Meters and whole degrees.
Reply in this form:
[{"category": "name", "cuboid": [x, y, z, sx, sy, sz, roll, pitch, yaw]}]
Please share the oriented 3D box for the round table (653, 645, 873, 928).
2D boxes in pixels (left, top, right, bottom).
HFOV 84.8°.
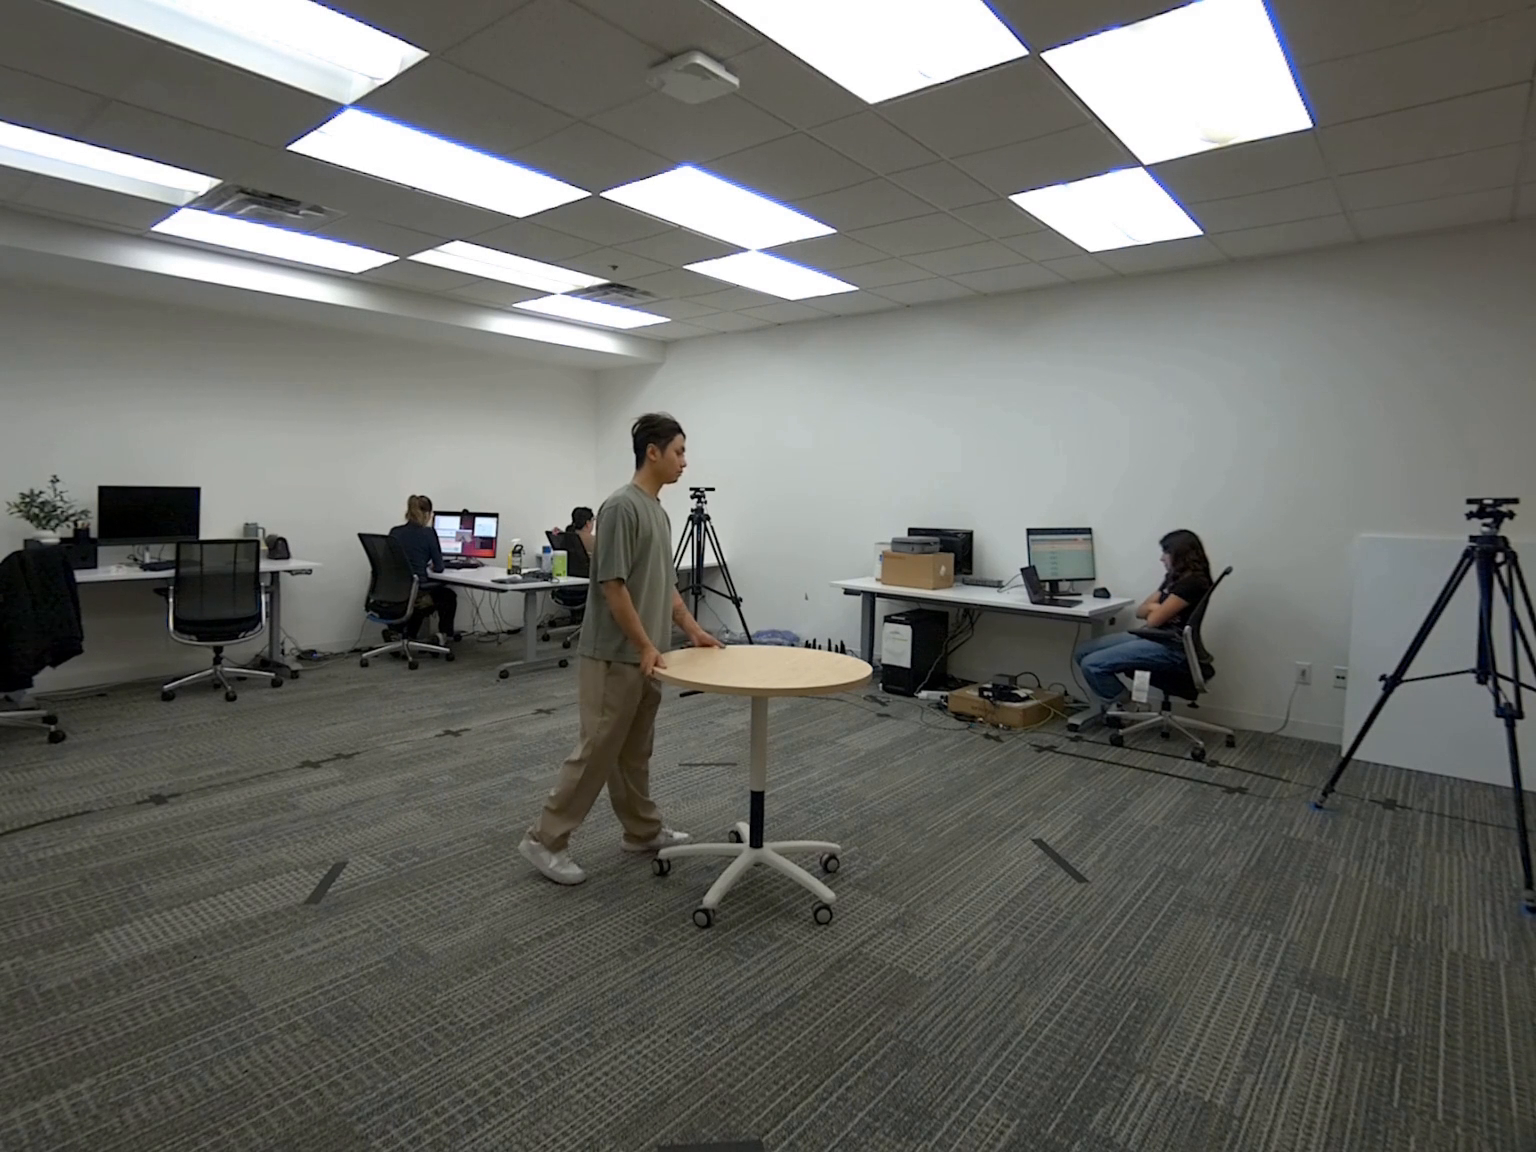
[{"category": "round table", "cuboid": [-0.033, 0.693, 2.953, 0.784, 0.784, 0.788, 1, 4, -2]}]
